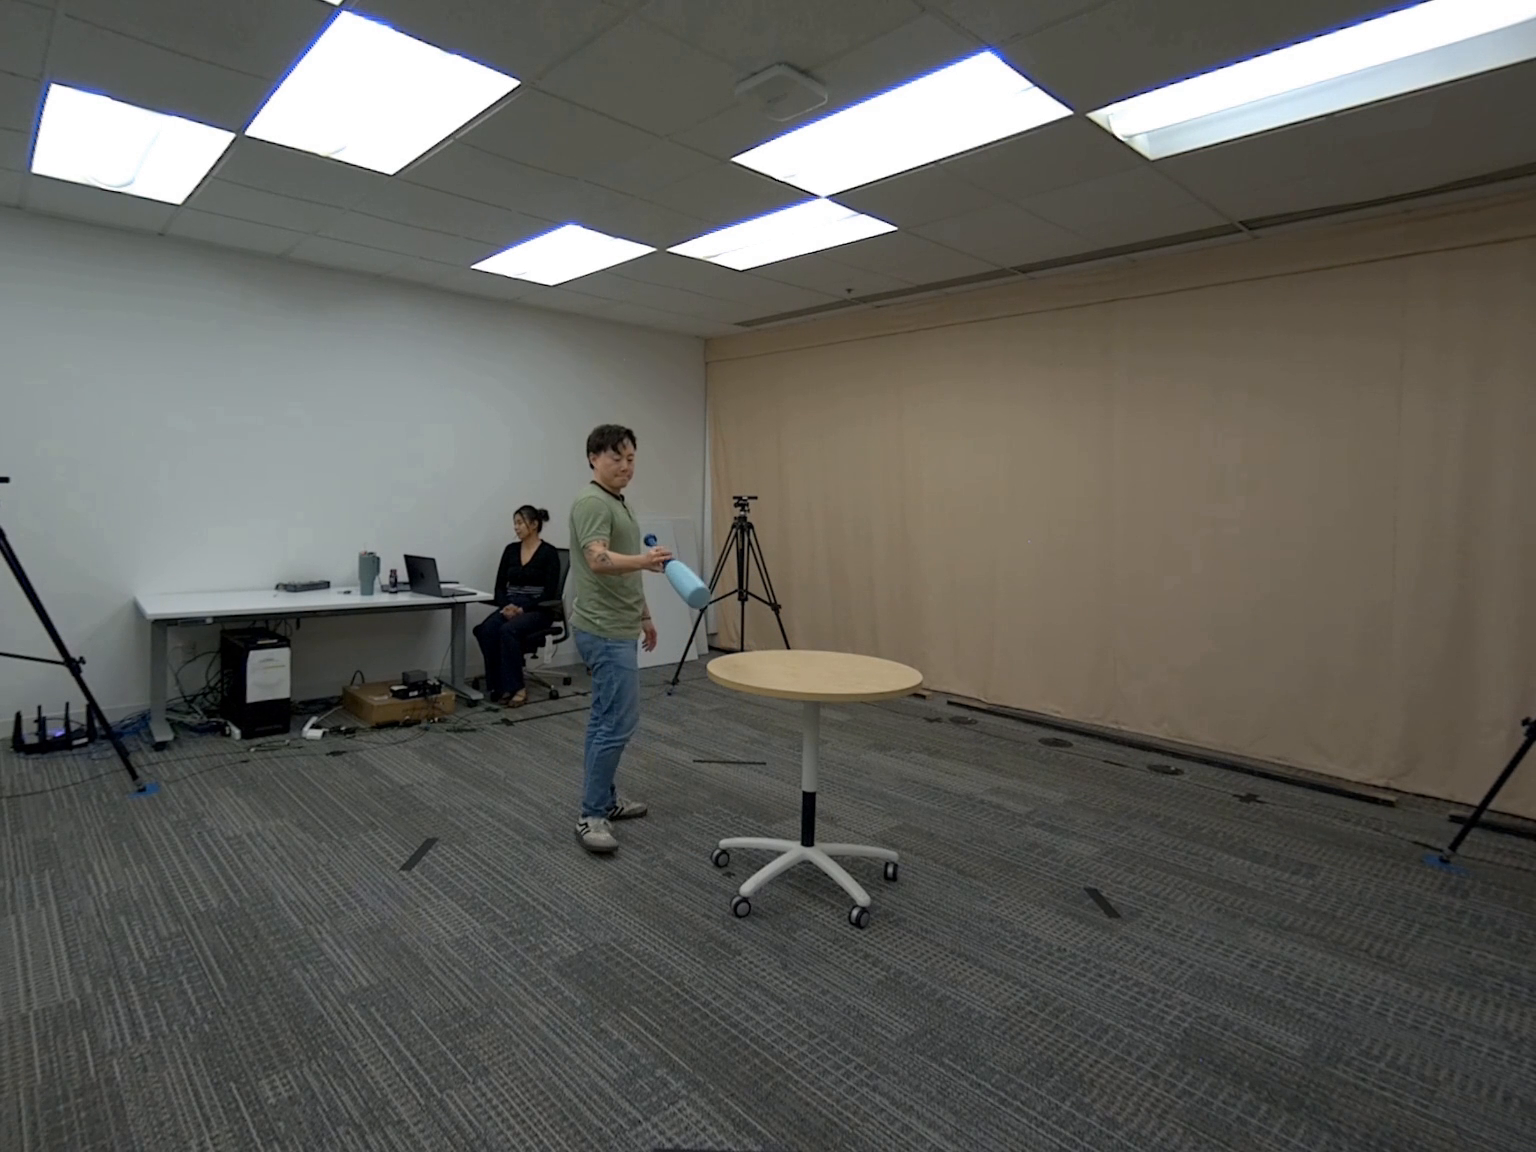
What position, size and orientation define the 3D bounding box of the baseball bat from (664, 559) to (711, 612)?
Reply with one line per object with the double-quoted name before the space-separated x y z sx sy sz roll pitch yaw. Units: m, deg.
"baseball bat" -0.344 -0.029 2.954 0.087 0.088 0.559 -1 24 -26
